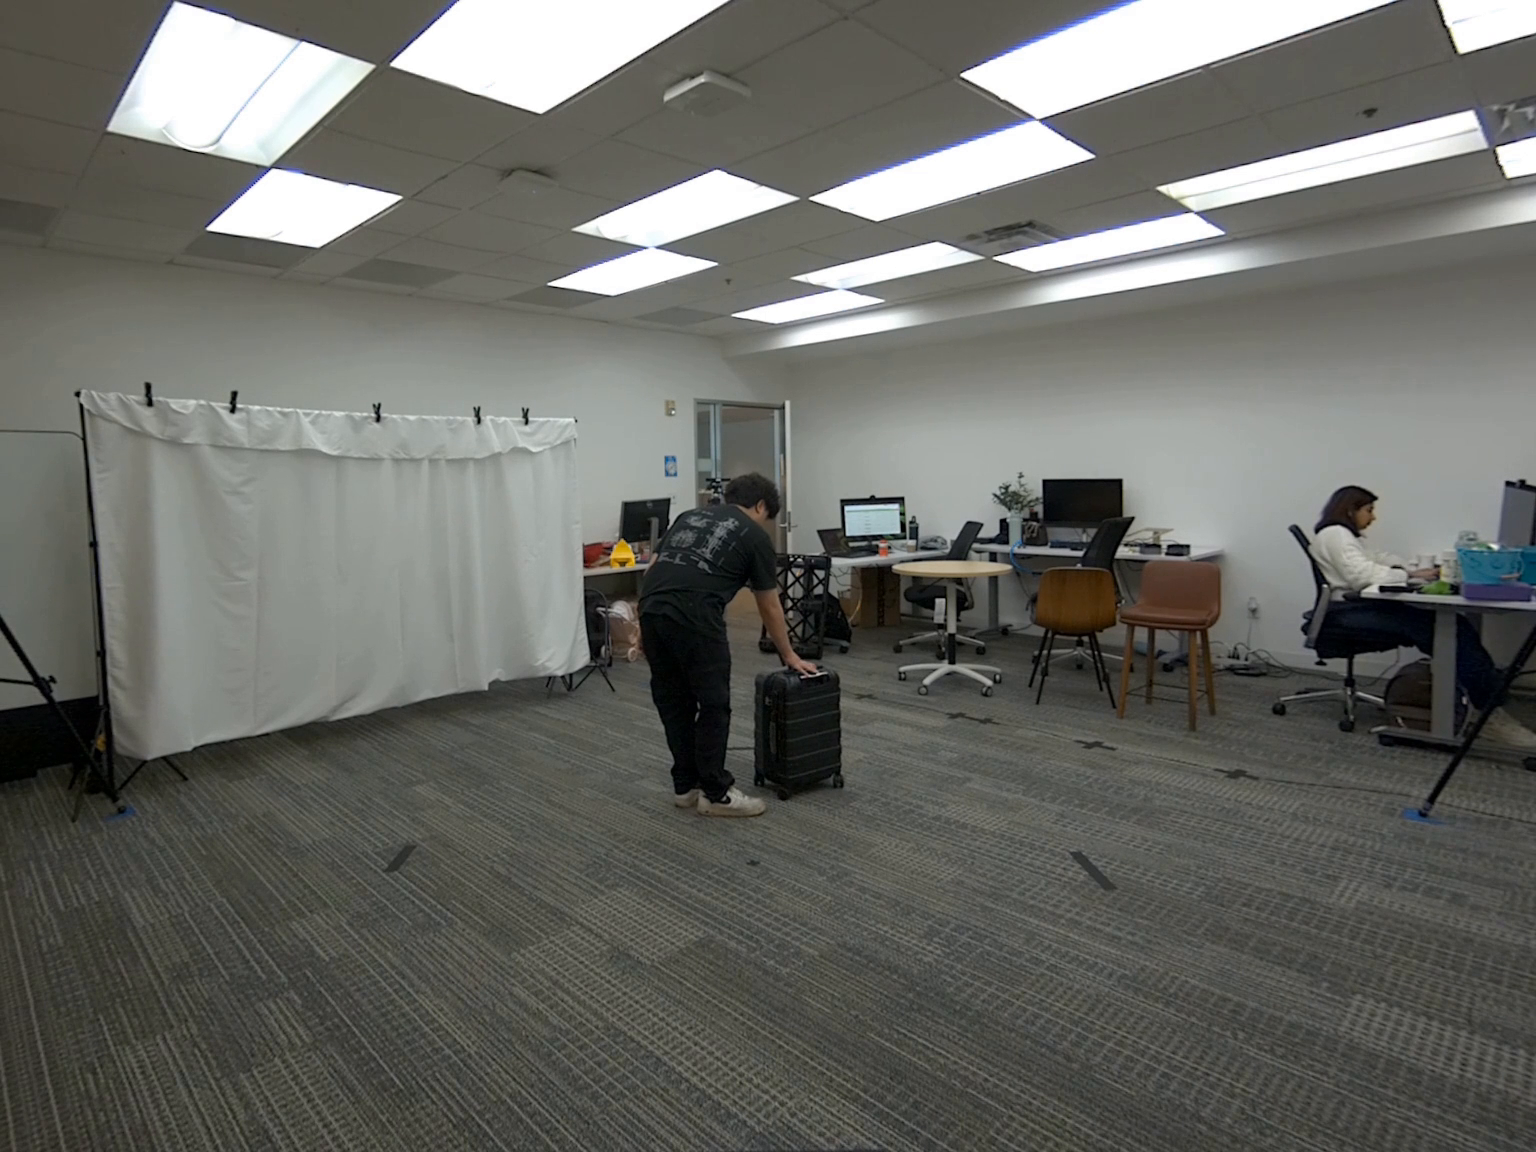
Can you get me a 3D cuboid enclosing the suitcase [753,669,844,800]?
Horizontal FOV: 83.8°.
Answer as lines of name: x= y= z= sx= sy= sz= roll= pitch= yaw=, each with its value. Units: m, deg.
suitcase: x=0.131 y=0.679 z=3.866 sx=0.366 sy=0.547 sz=0.255 roll=-4 pitch=5 yaw=-36
